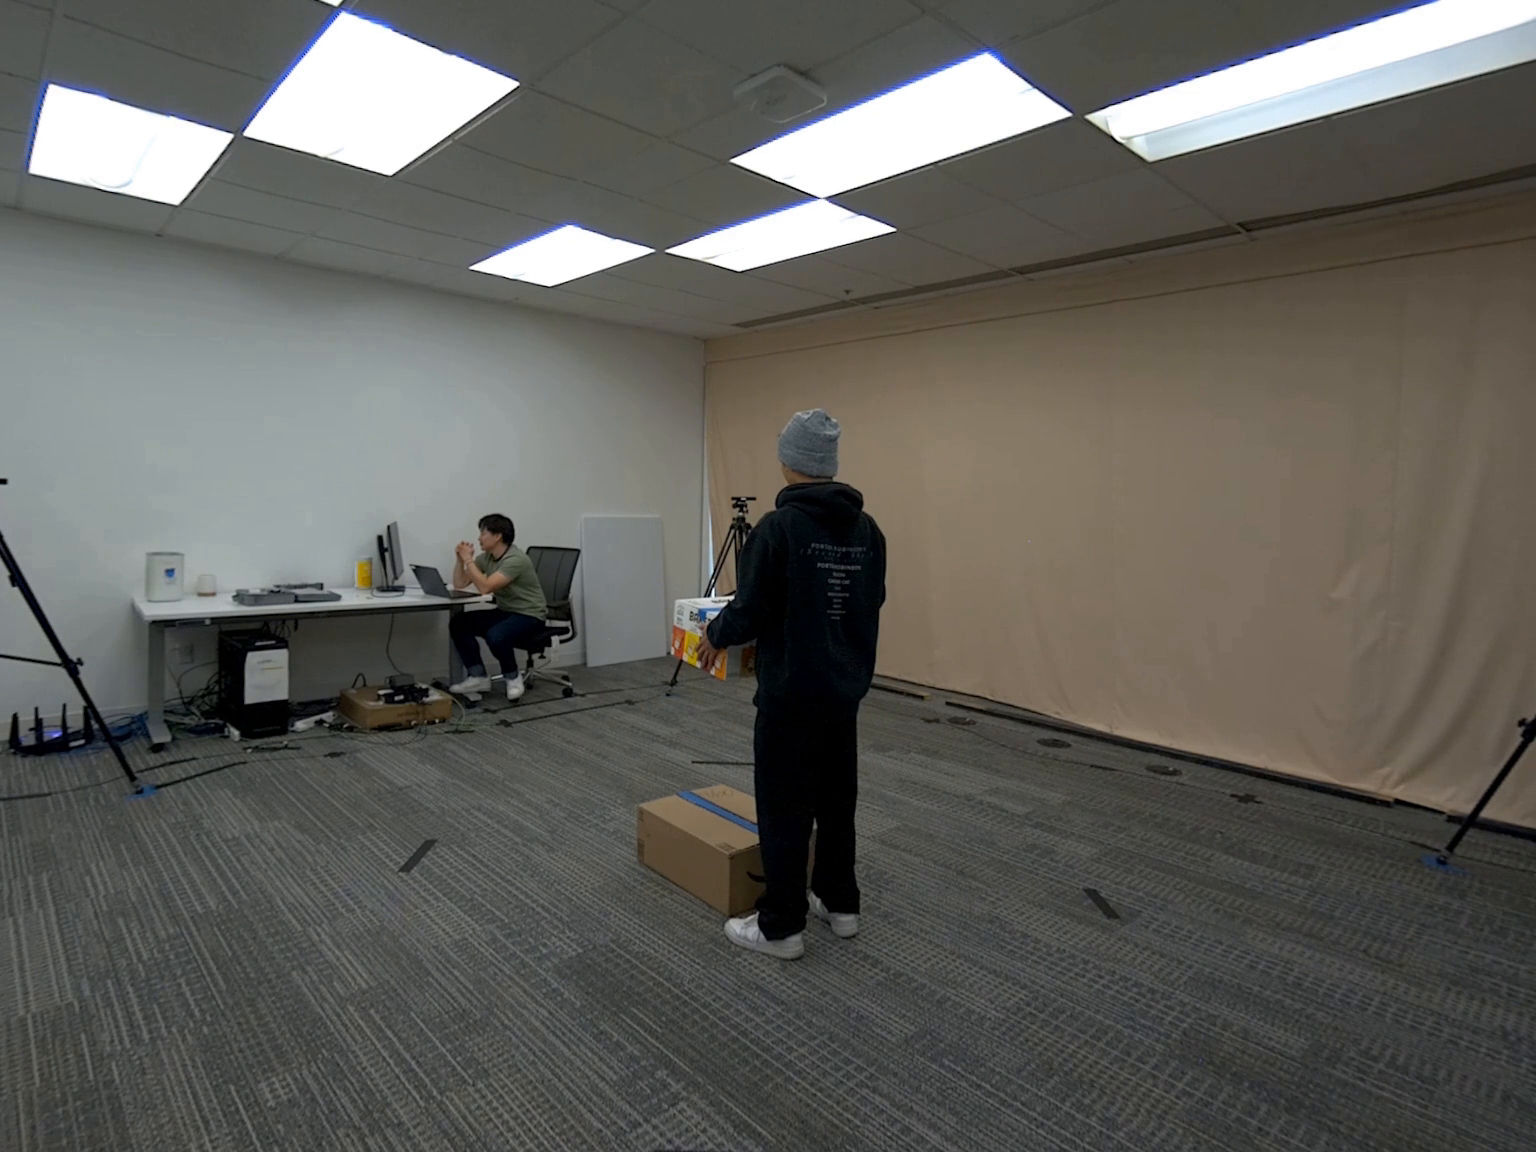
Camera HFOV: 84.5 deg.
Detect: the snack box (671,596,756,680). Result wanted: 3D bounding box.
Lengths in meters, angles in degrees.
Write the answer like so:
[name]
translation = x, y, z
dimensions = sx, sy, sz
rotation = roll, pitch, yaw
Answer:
[snack box]
translation = -0.089, 0.212, 3.022
dimensions = 0.396, 0.204, 0.350
rotation = -3, 13, -38
